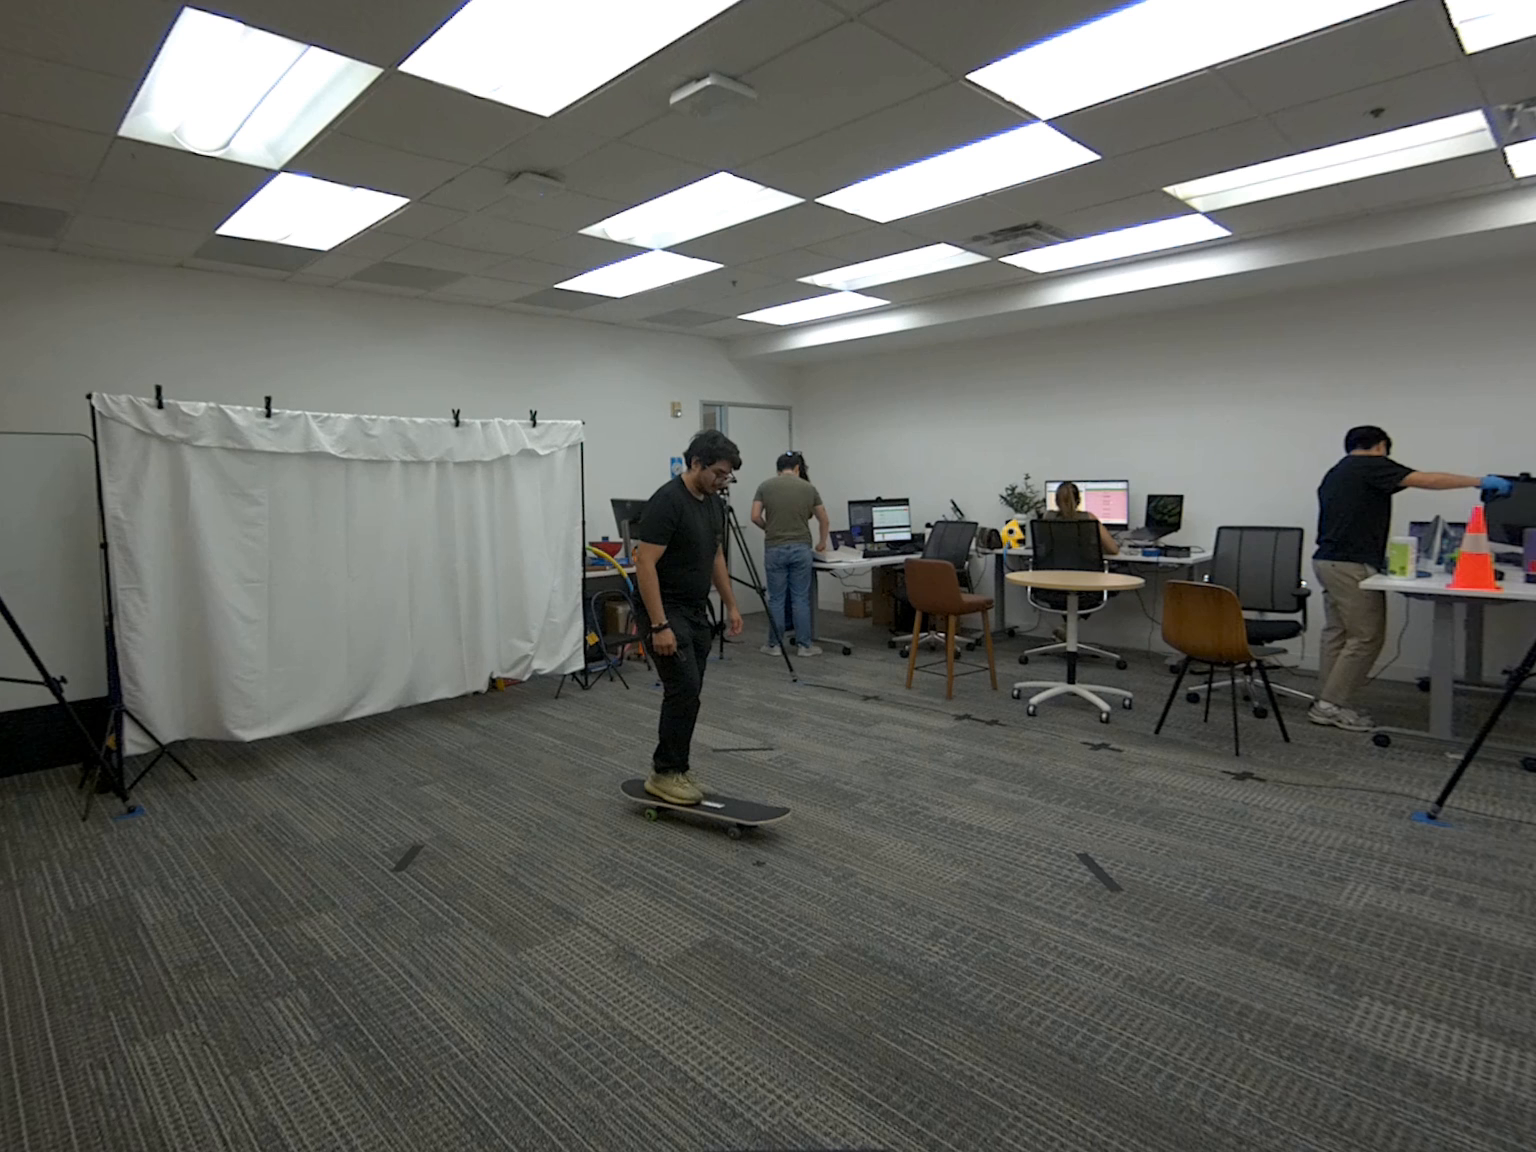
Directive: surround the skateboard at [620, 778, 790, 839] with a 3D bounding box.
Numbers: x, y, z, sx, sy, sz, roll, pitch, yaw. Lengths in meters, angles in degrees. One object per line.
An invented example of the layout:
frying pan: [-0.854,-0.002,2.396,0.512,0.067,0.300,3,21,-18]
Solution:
skateboard: [-0.263,0.956,3.495,0.806,0.110,0.189,2,6,30]
